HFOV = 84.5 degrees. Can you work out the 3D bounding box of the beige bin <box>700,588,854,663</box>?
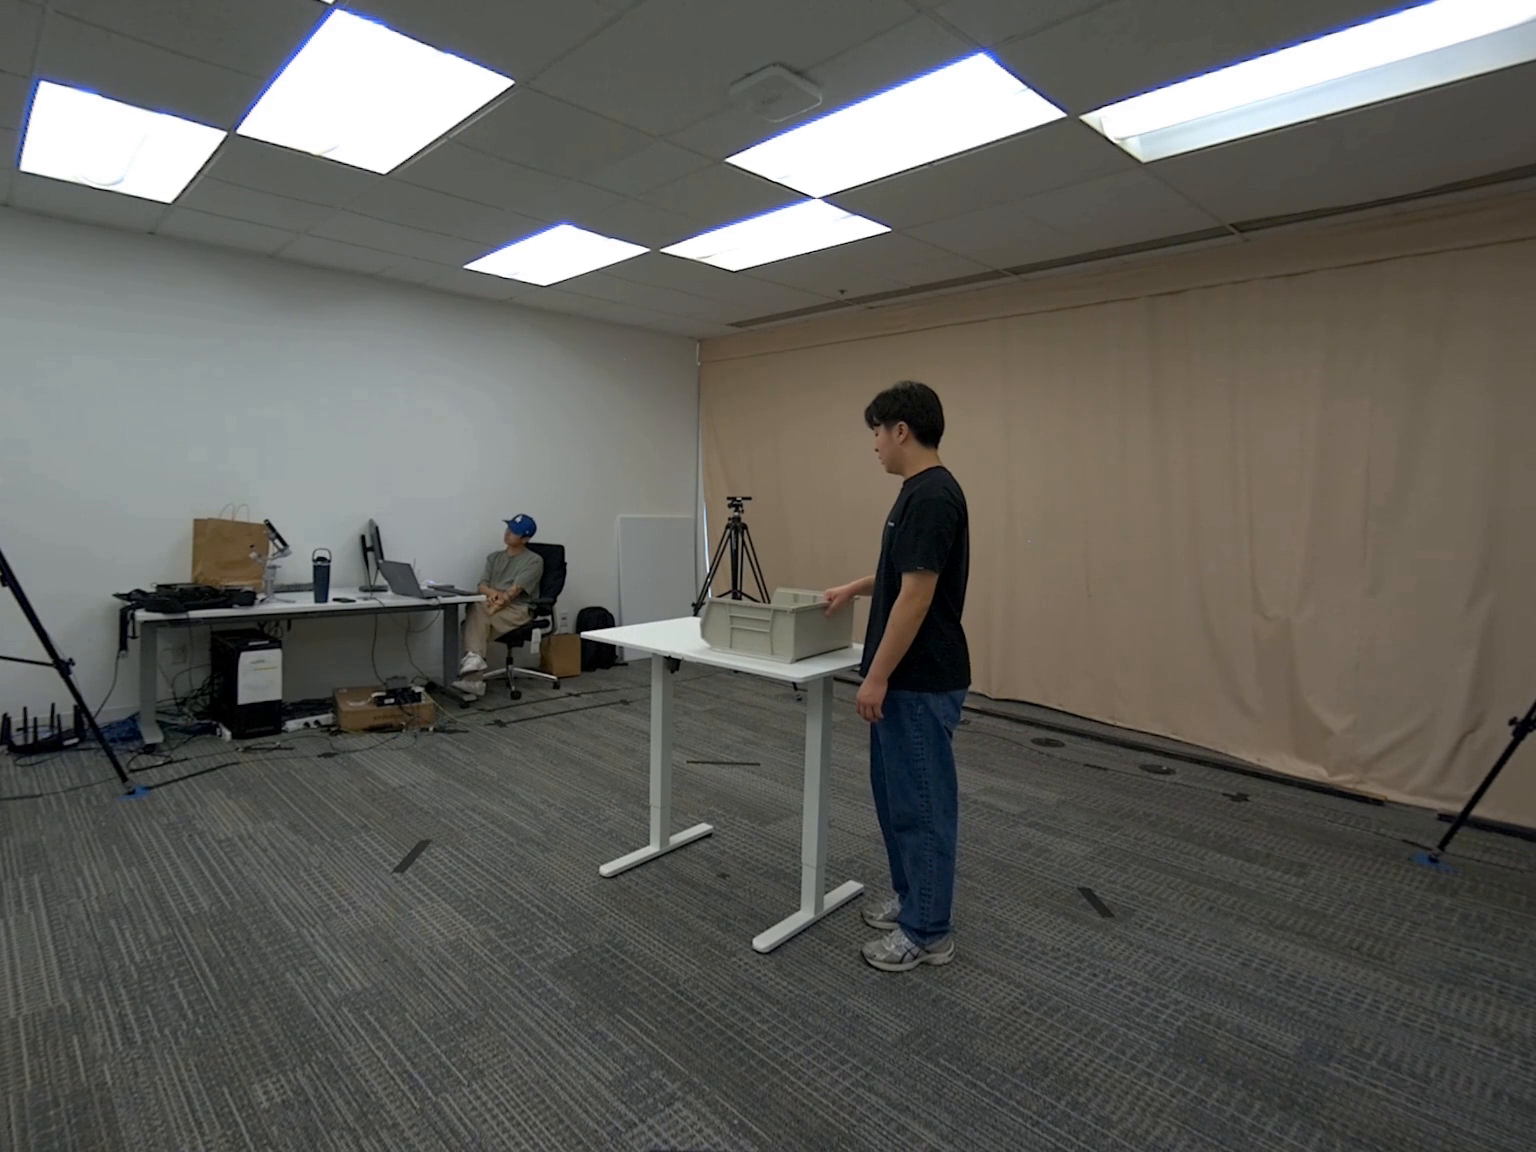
[{"bbox_3d":[0.040,0.163,2.883,0.387,0.188,0.413,6,7,35],"label":"beige bin"}]
